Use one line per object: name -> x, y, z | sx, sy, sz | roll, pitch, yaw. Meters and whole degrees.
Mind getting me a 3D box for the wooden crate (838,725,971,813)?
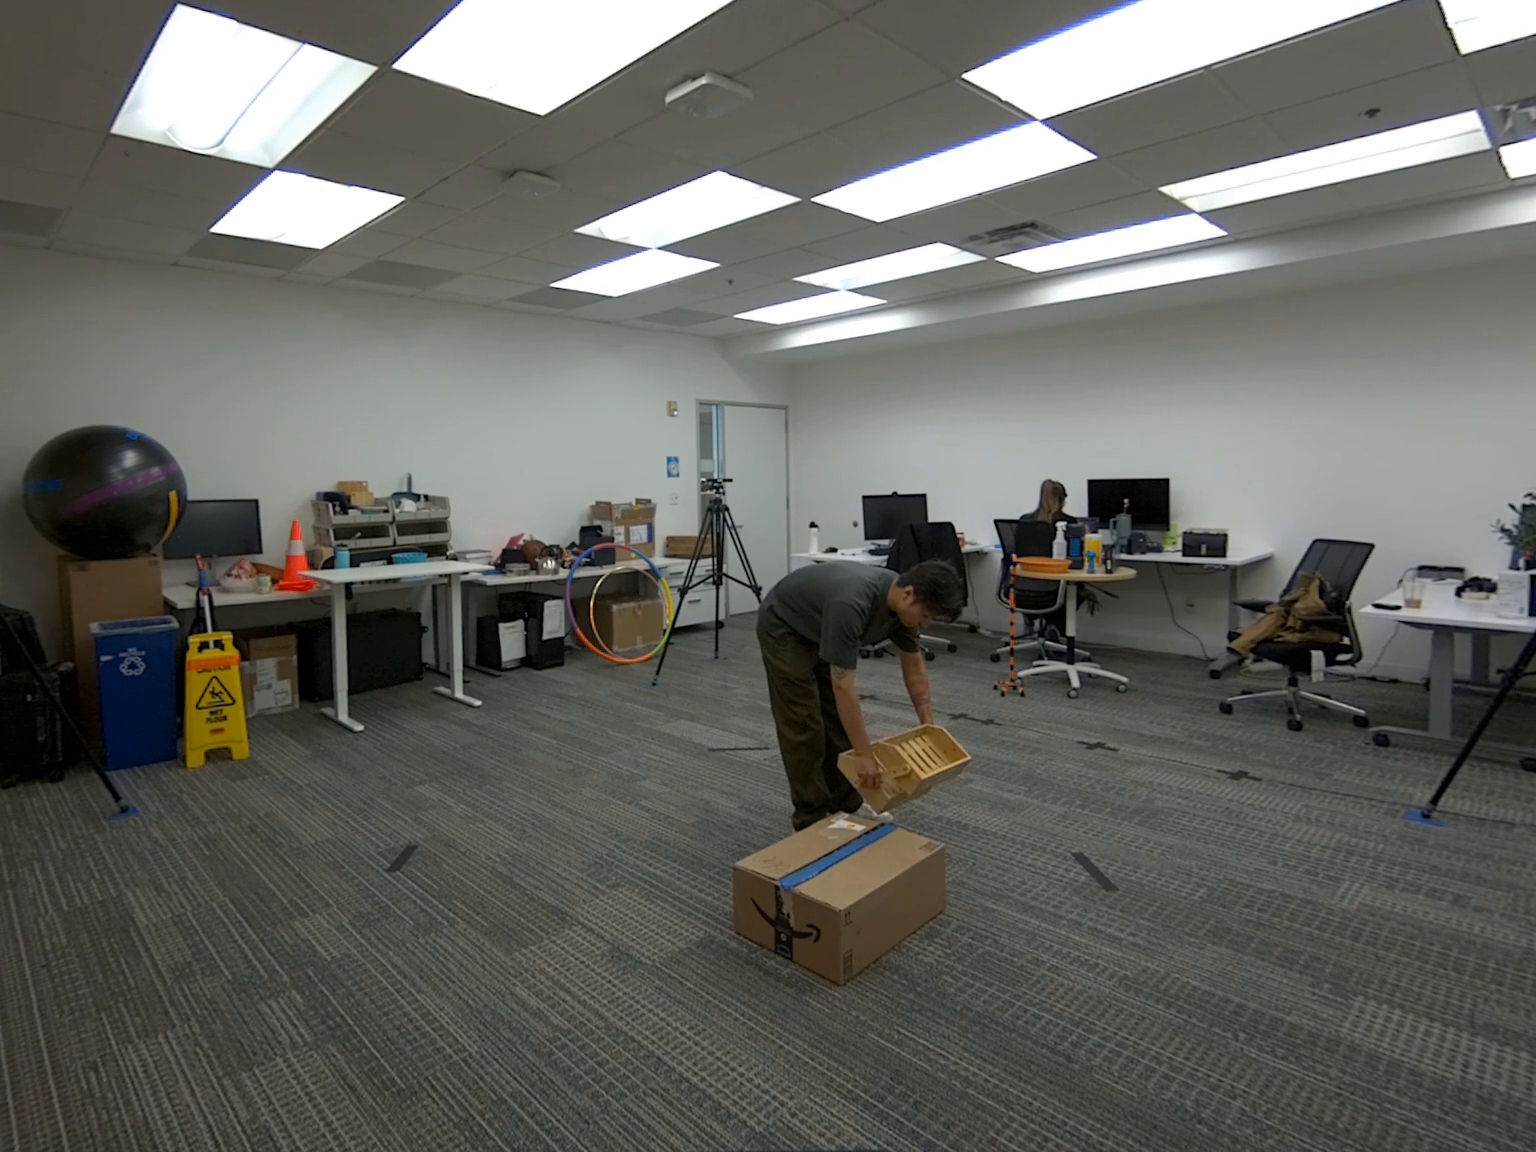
wooden crate -> 0.496, 0.671, 3.129 | 0.316, 0.270, 0.313 | -6, 43, -42
